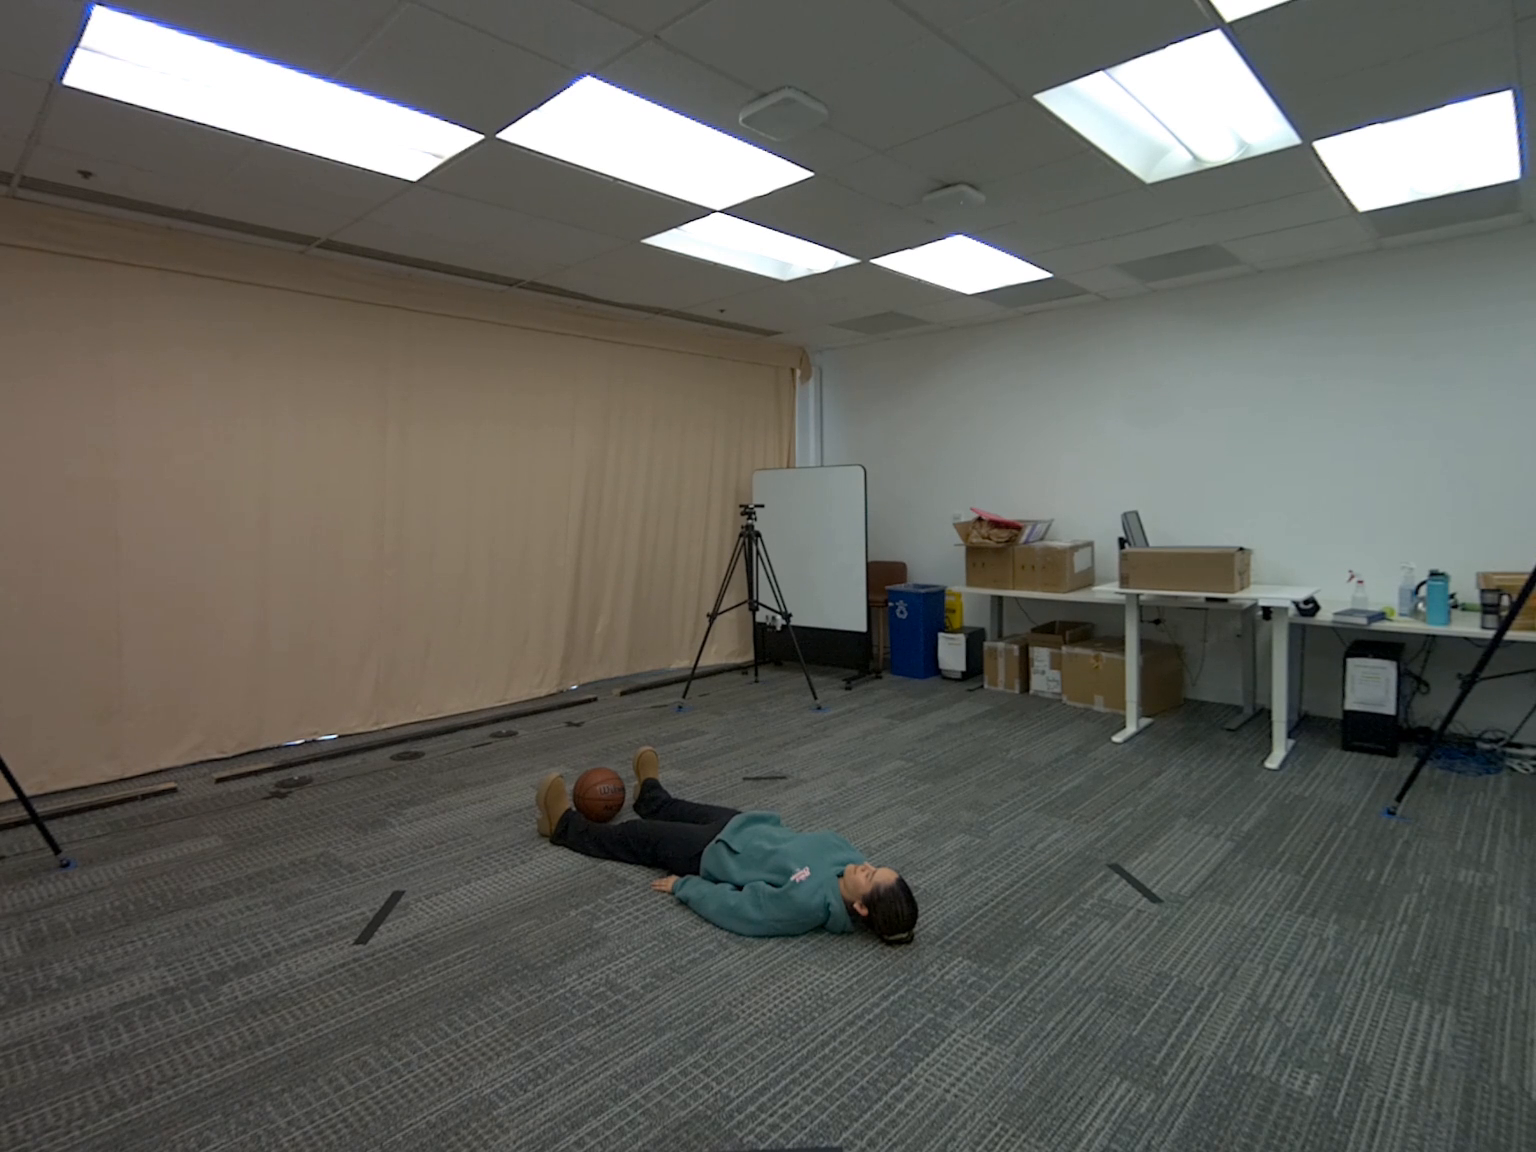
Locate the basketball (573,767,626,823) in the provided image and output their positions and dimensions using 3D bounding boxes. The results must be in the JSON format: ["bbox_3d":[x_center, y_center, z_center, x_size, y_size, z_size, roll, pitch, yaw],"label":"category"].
[{"bbox_3d":[-0.753,0.974,3.751,0.236,0.235,0.237,0,4,-2],"label":"basketball"}]
